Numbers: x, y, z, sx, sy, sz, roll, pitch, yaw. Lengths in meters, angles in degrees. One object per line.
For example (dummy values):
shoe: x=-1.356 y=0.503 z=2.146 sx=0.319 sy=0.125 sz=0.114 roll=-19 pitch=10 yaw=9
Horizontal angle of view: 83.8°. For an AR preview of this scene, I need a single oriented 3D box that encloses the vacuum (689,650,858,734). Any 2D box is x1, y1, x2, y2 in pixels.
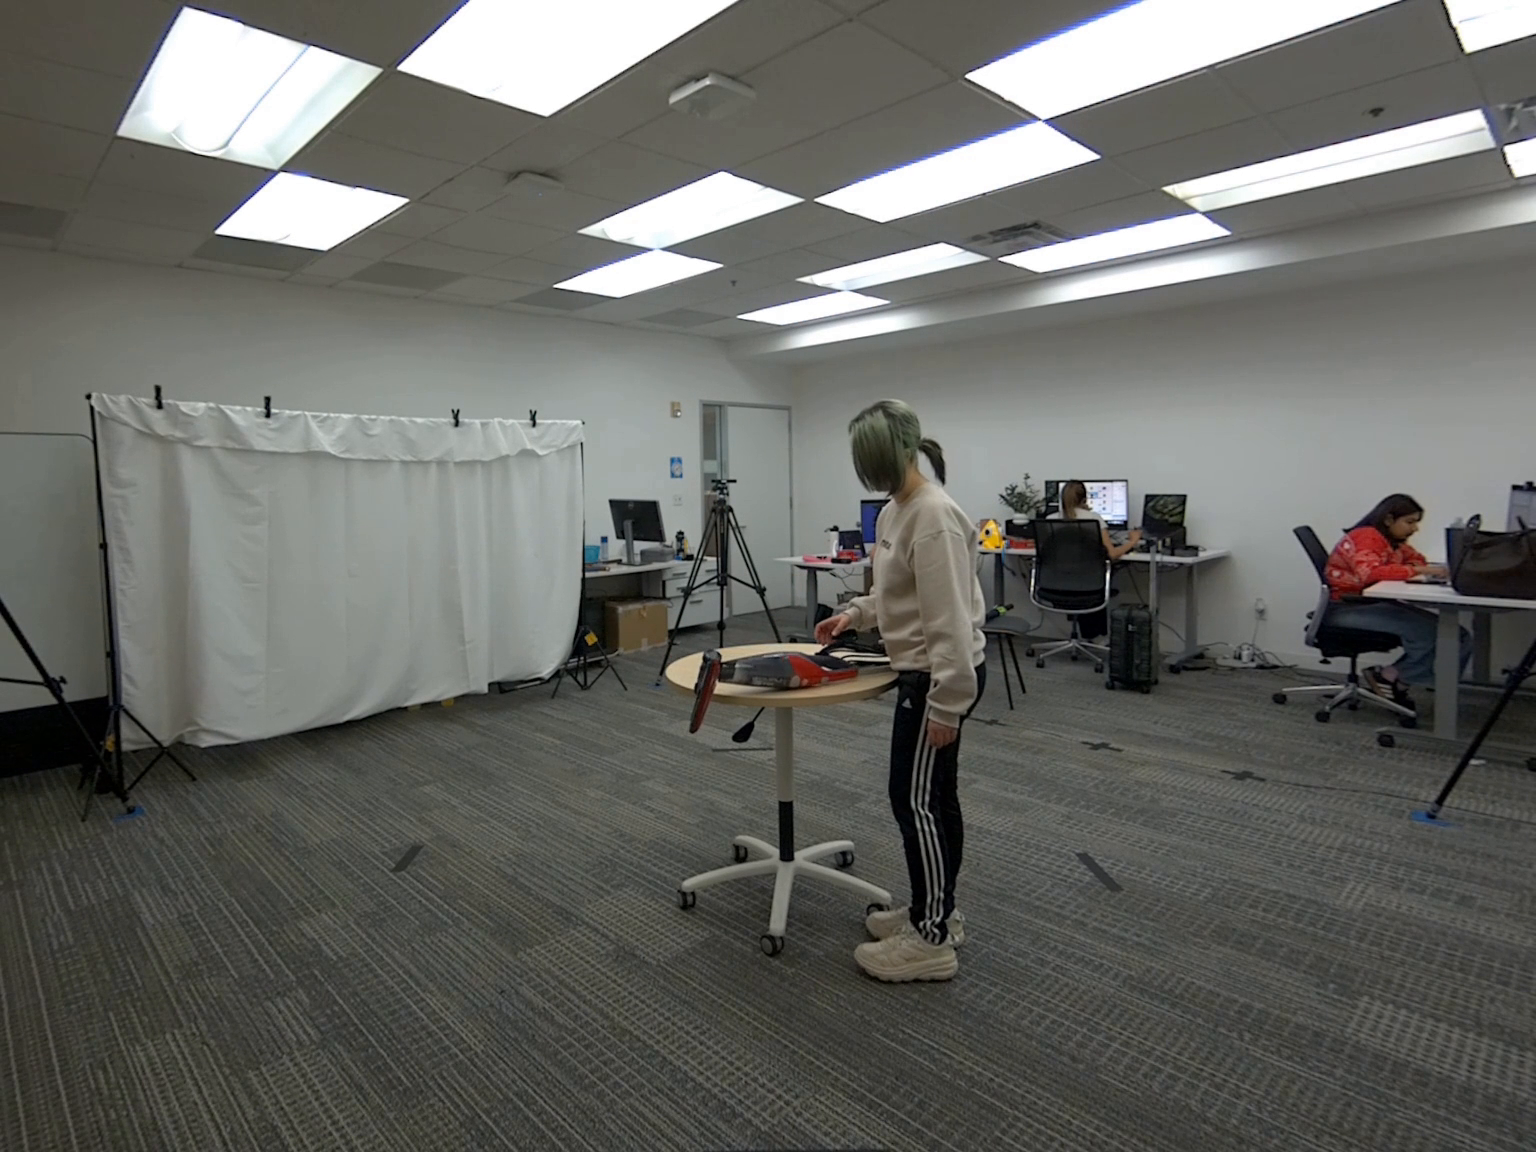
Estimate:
vacuum: x=0.256 y=0.280 z=2.616 sx=1.025 sy=0.249 sz=0.149 roll=-2 pitch=39 yaw=-29
